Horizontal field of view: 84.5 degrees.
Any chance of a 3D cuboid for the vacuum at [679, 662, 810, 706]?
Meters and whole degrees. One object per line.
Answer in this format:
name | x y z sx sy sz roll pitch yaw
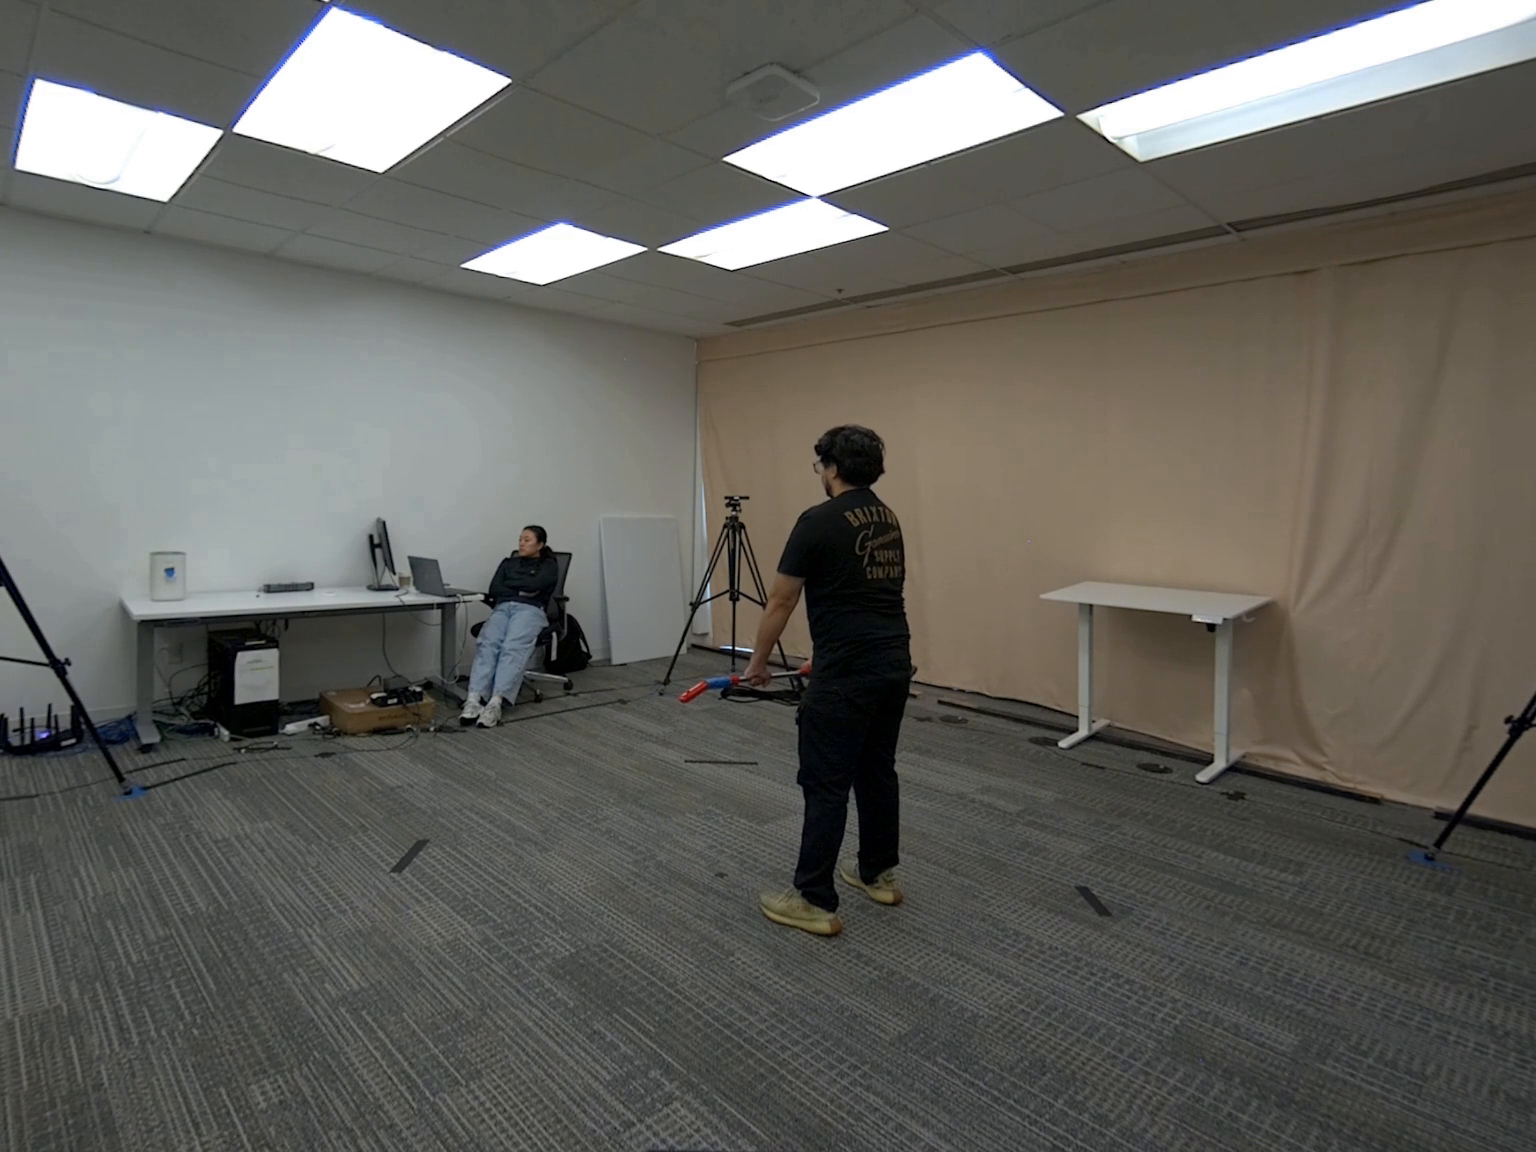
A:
vacuum | 0.089 0.402 3.055 1.025 0.143 0.260 -1 13 -41
